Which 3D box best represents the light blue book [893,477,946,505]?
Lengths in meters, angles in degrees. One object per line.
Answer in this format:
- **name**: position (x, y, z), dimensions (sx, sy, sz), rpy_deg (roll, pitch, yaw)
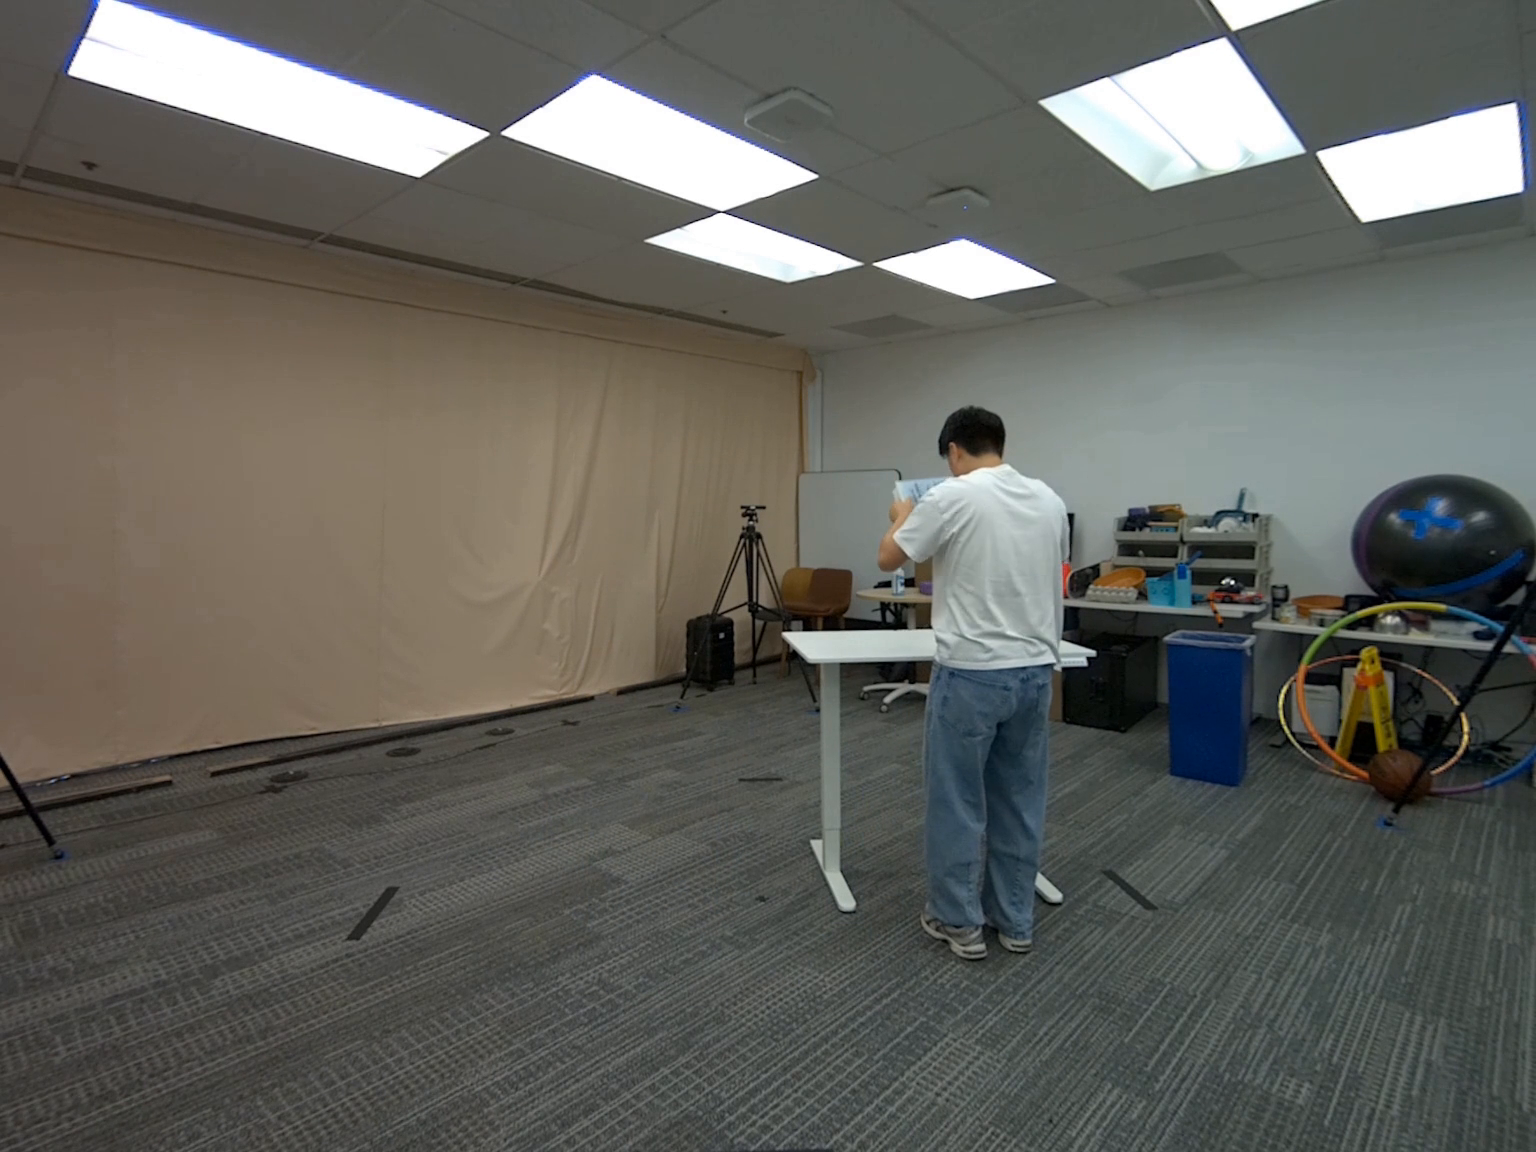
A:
- **light blue book**: position (0.619, -0.256, 2.976), dimensions (0.260, 0.195, 0.058), rpy_deg (-4, -30, -5)
